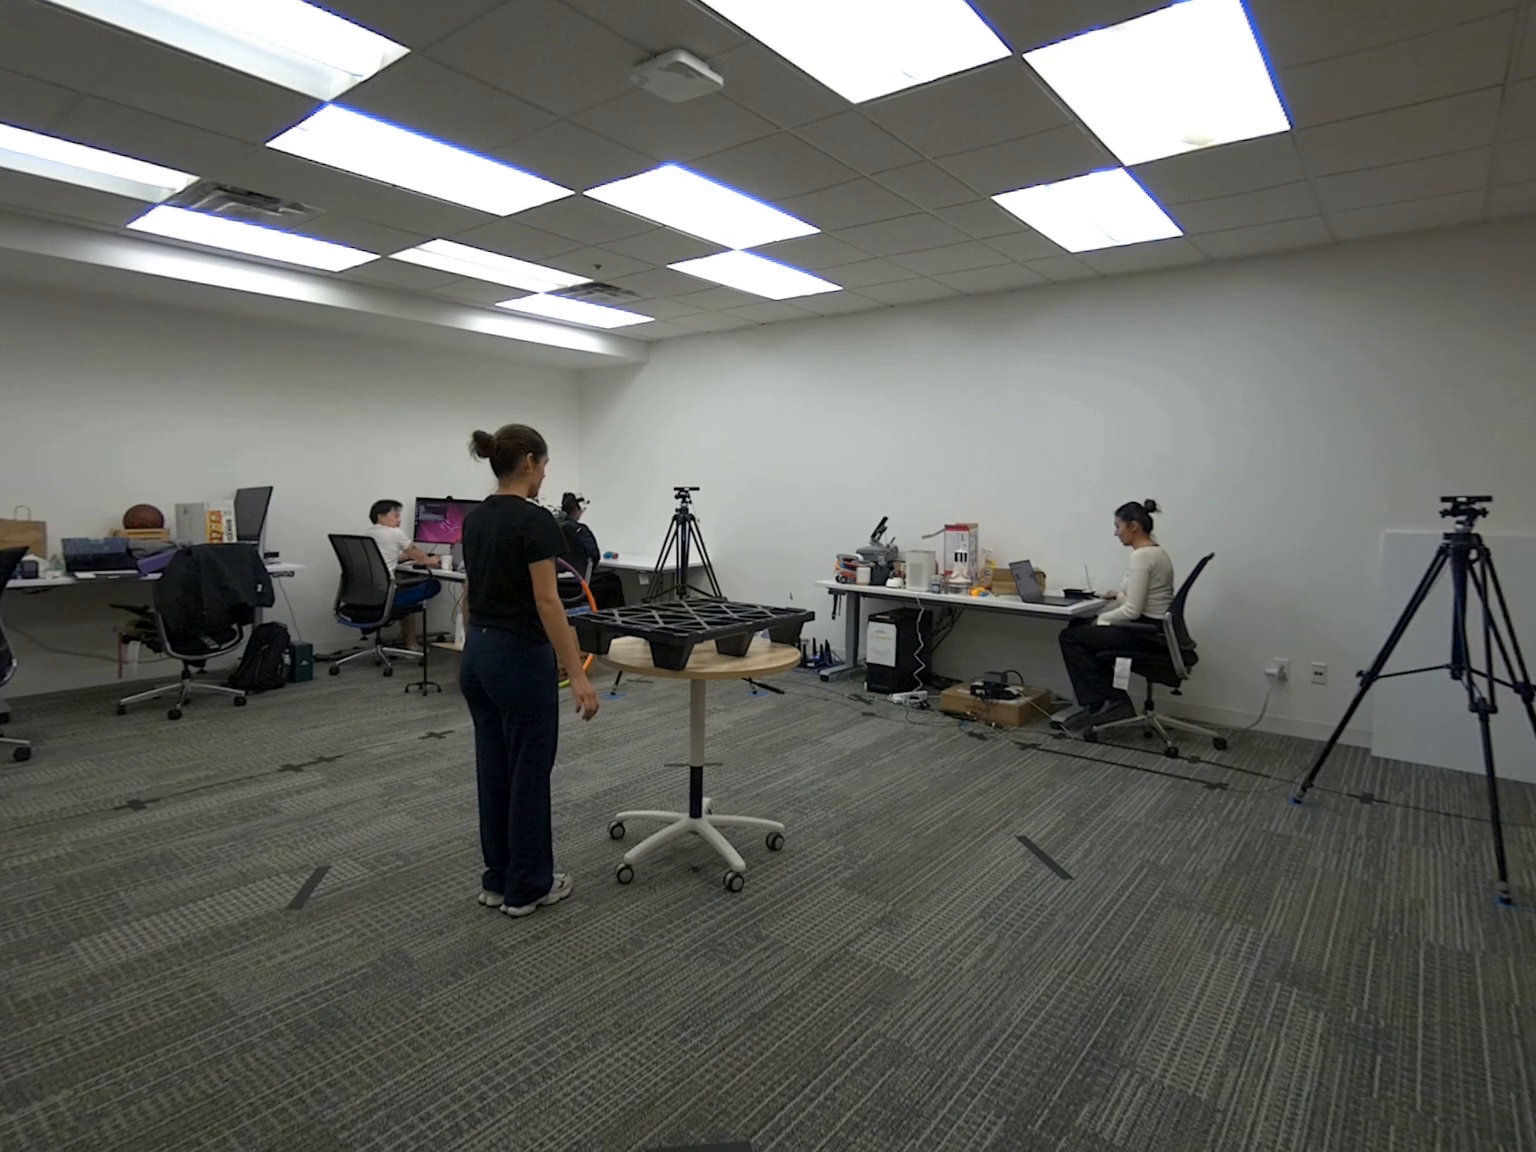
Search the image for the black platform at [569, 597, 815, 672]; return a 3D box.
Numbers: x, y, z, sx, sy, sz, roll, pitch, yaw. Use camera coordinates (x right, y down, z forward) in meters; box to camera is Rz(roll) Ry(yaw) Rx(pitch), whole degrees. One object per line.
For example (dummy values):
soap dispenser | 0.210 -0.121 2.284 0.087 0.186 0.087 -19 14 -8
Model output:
black platform | -0.273 0.204 3.257 0.625 0.143 0.782 5 7 38
